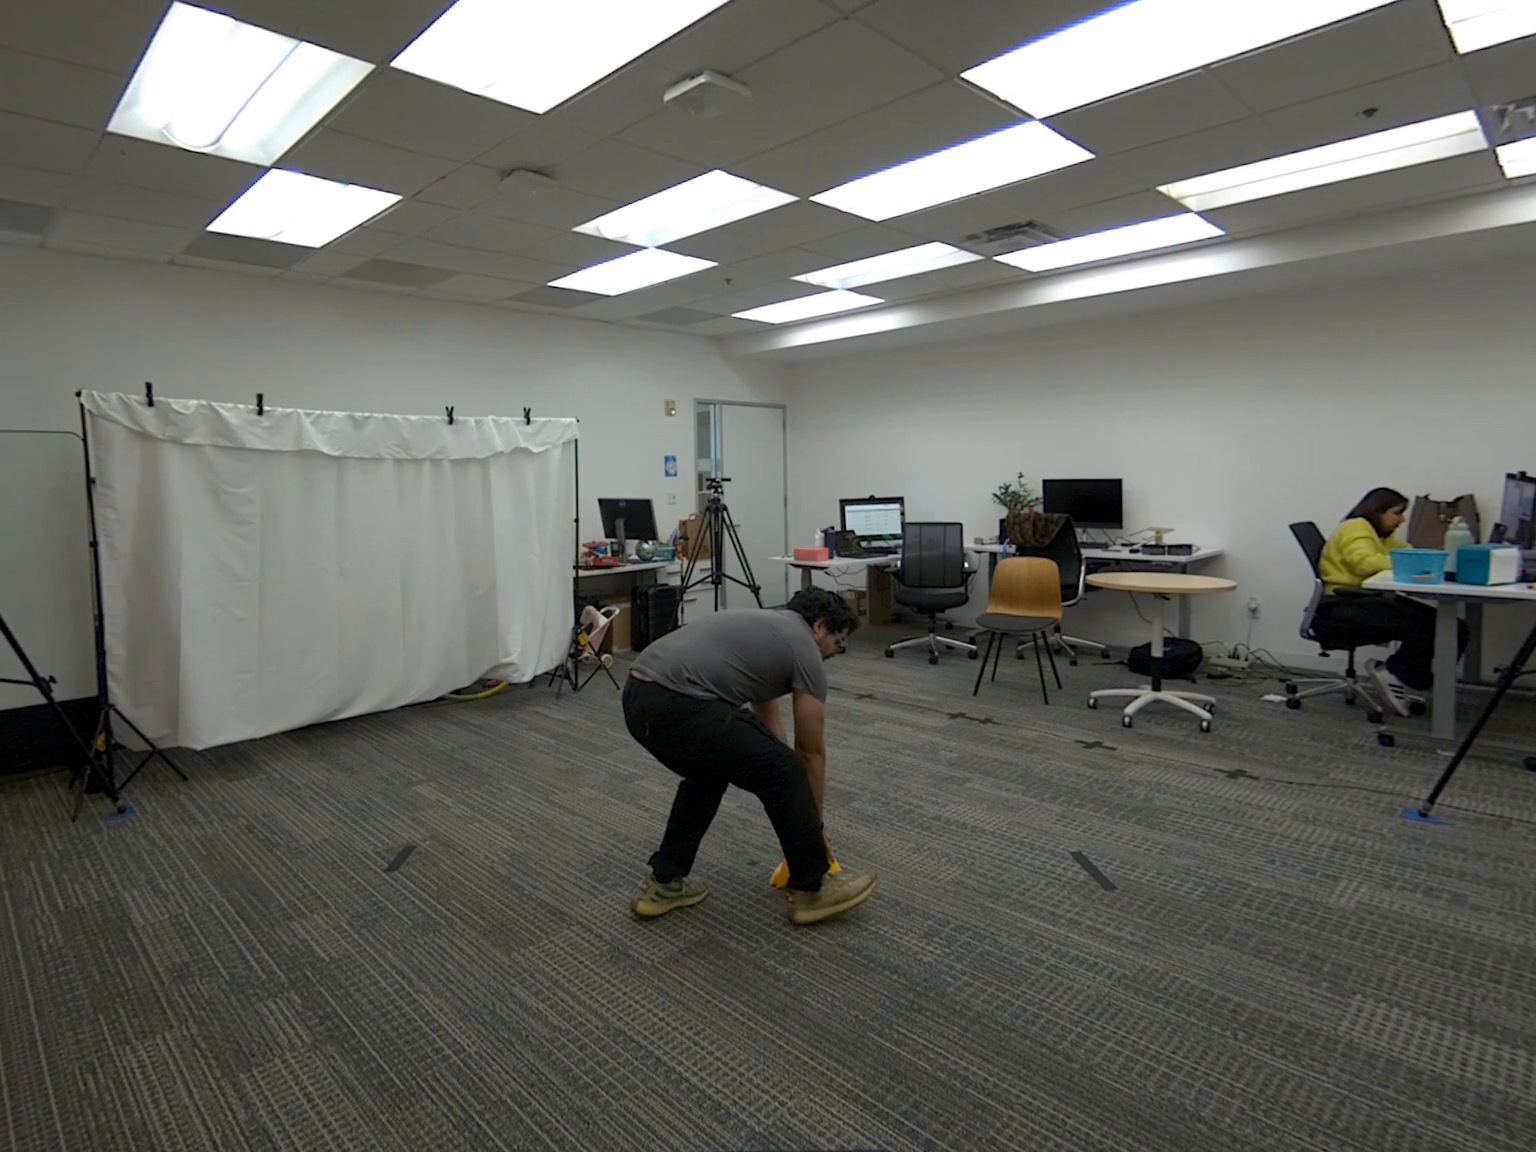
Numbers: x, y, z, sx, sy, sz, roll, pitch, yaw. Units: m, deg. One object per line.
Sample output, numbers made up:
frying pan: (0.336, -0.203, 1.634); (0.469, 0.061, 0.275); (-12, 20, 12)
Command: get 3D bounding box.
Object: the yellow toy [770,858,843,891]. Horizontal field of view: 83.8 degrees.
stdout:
yellow toy: (0.124, 0.953, 2.909); (0.188, 0.230, 0.210); (-1, 6, -29)
